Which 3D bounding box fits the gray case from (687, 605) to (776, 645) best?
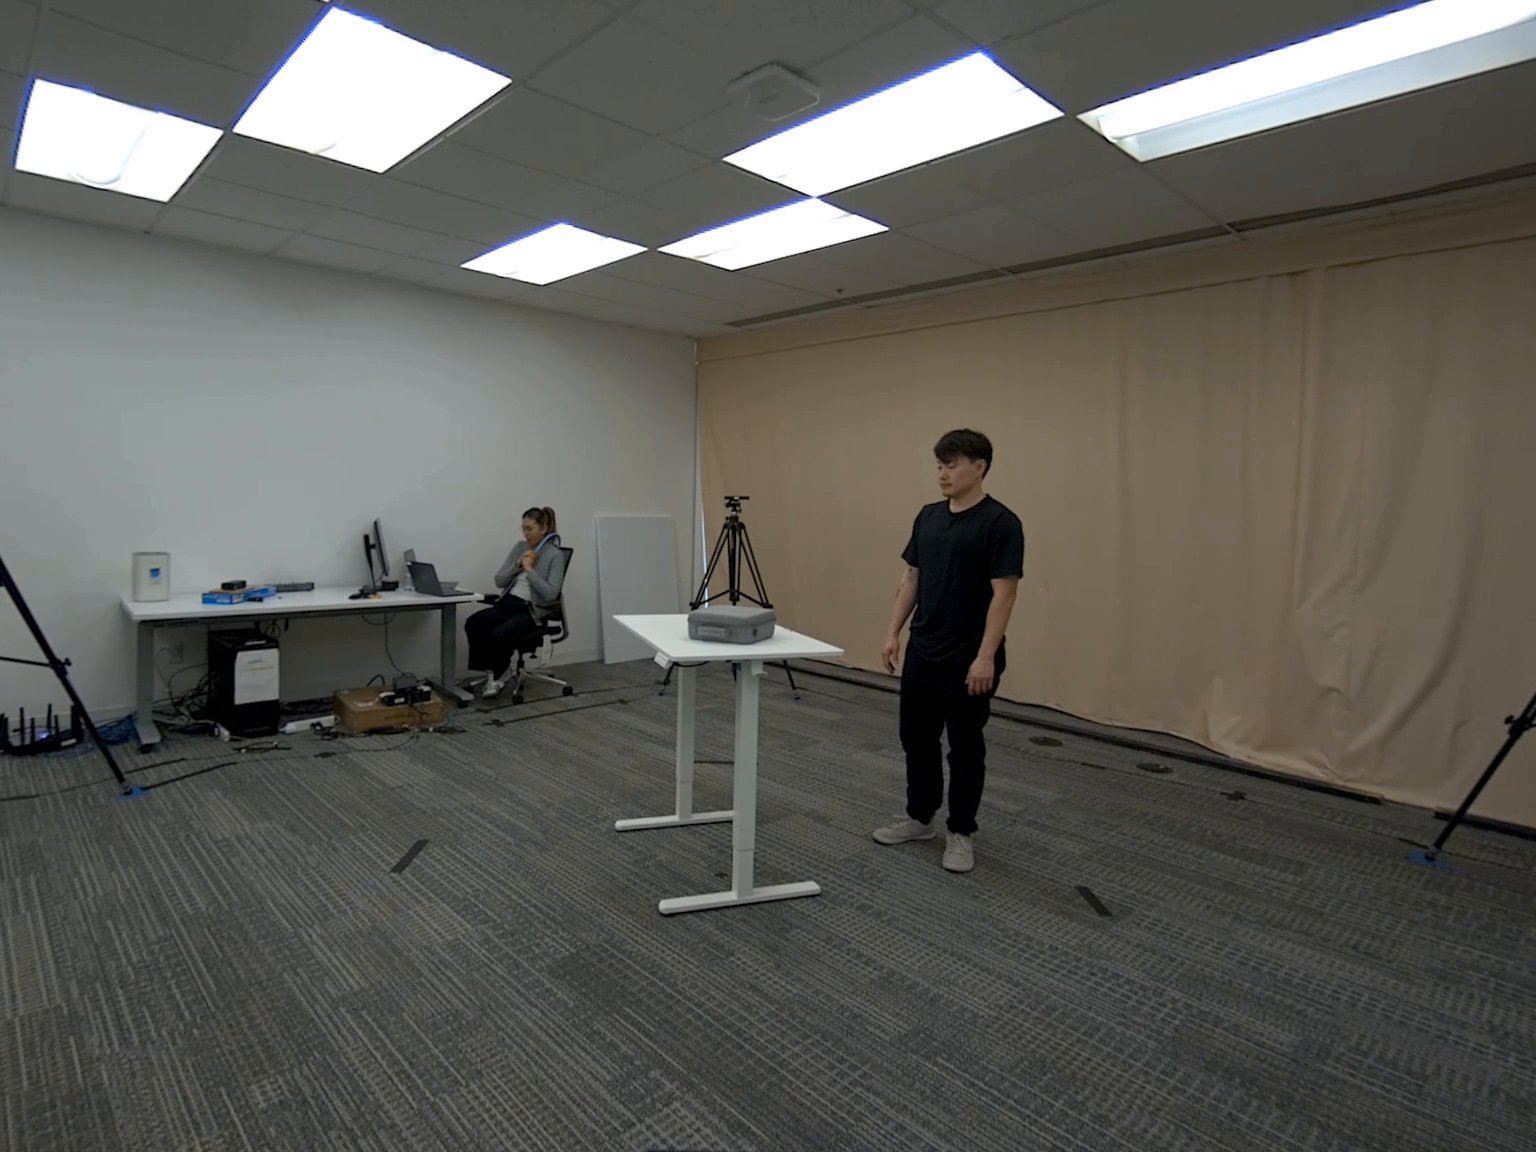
[{"bbox_3d":[-0.135,0.173,3.041,0.262,0.104,0.256,5,6,25],"label":"gray case"}]
